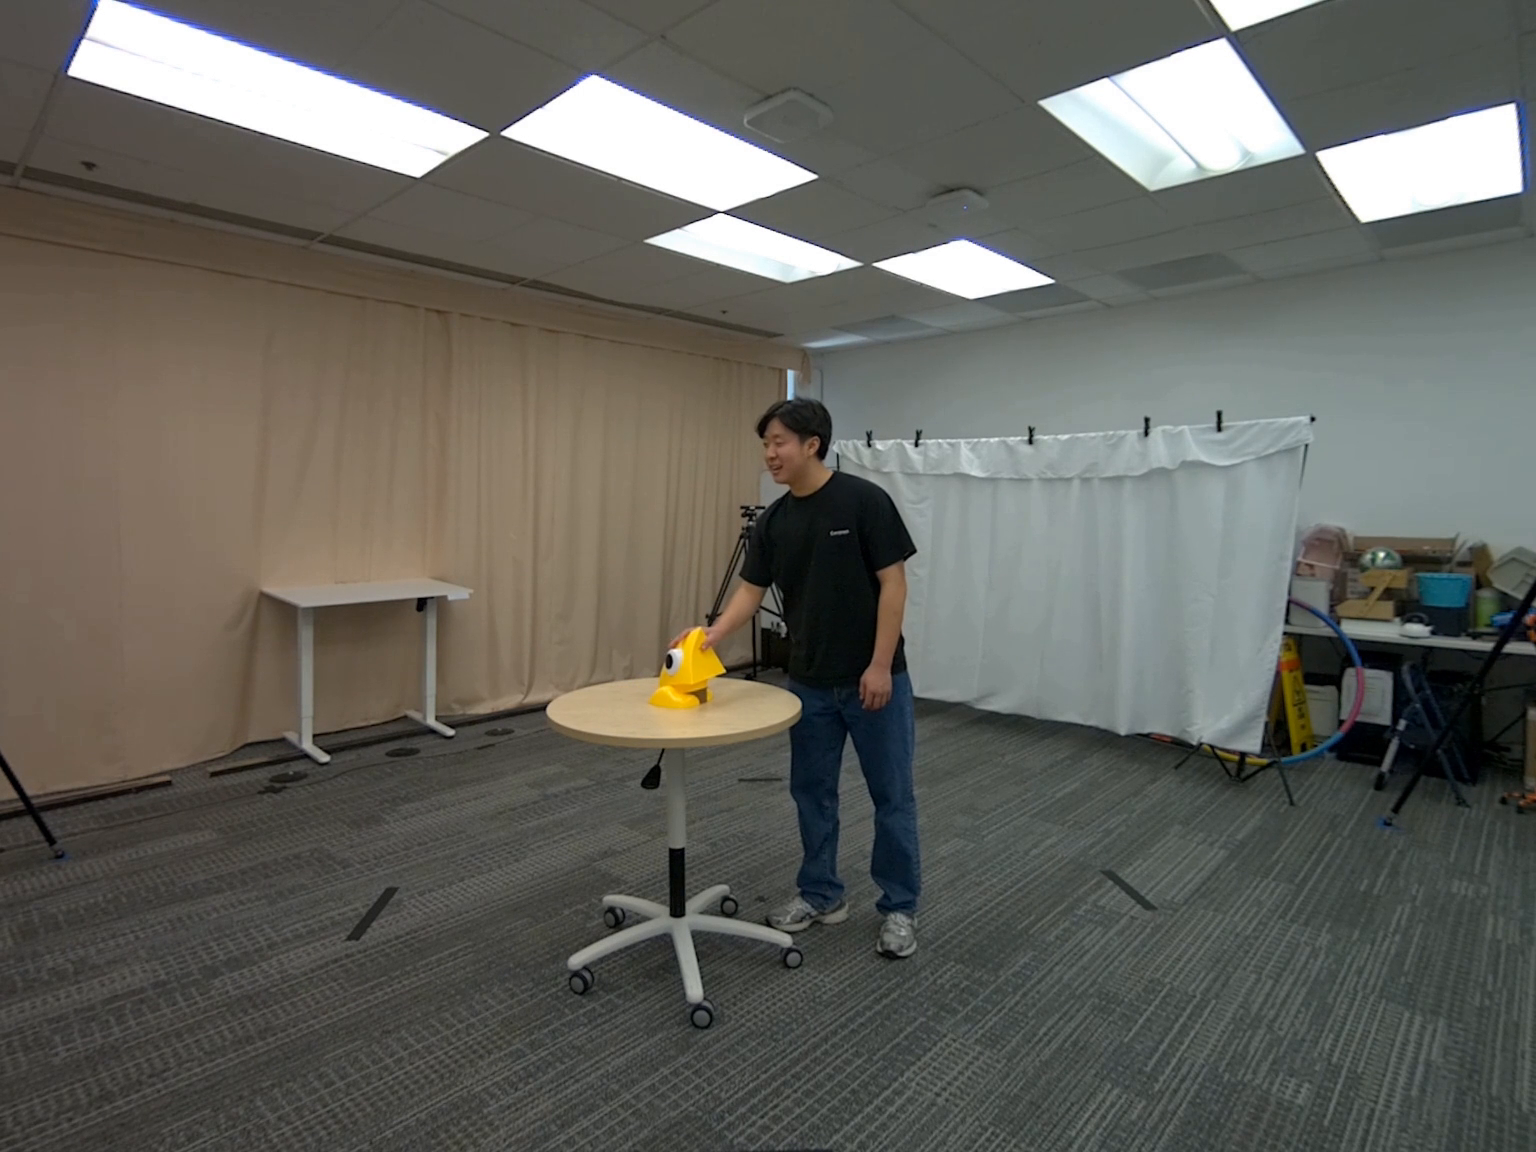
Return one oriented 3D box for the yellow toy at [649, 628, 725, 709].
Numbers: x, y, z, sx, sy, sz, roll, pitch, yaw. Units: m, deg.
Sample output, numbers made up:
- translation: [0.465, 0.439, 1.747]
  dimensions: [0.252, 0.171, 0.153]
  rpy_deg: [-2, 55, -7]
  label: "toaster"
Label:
- translation: [-0.254, 0.273, 2.575]
  dimensions: [0.198, 0.230, 0.200]
  rpy_deg: [2, 5, 28]
  label: "yellow toy"
